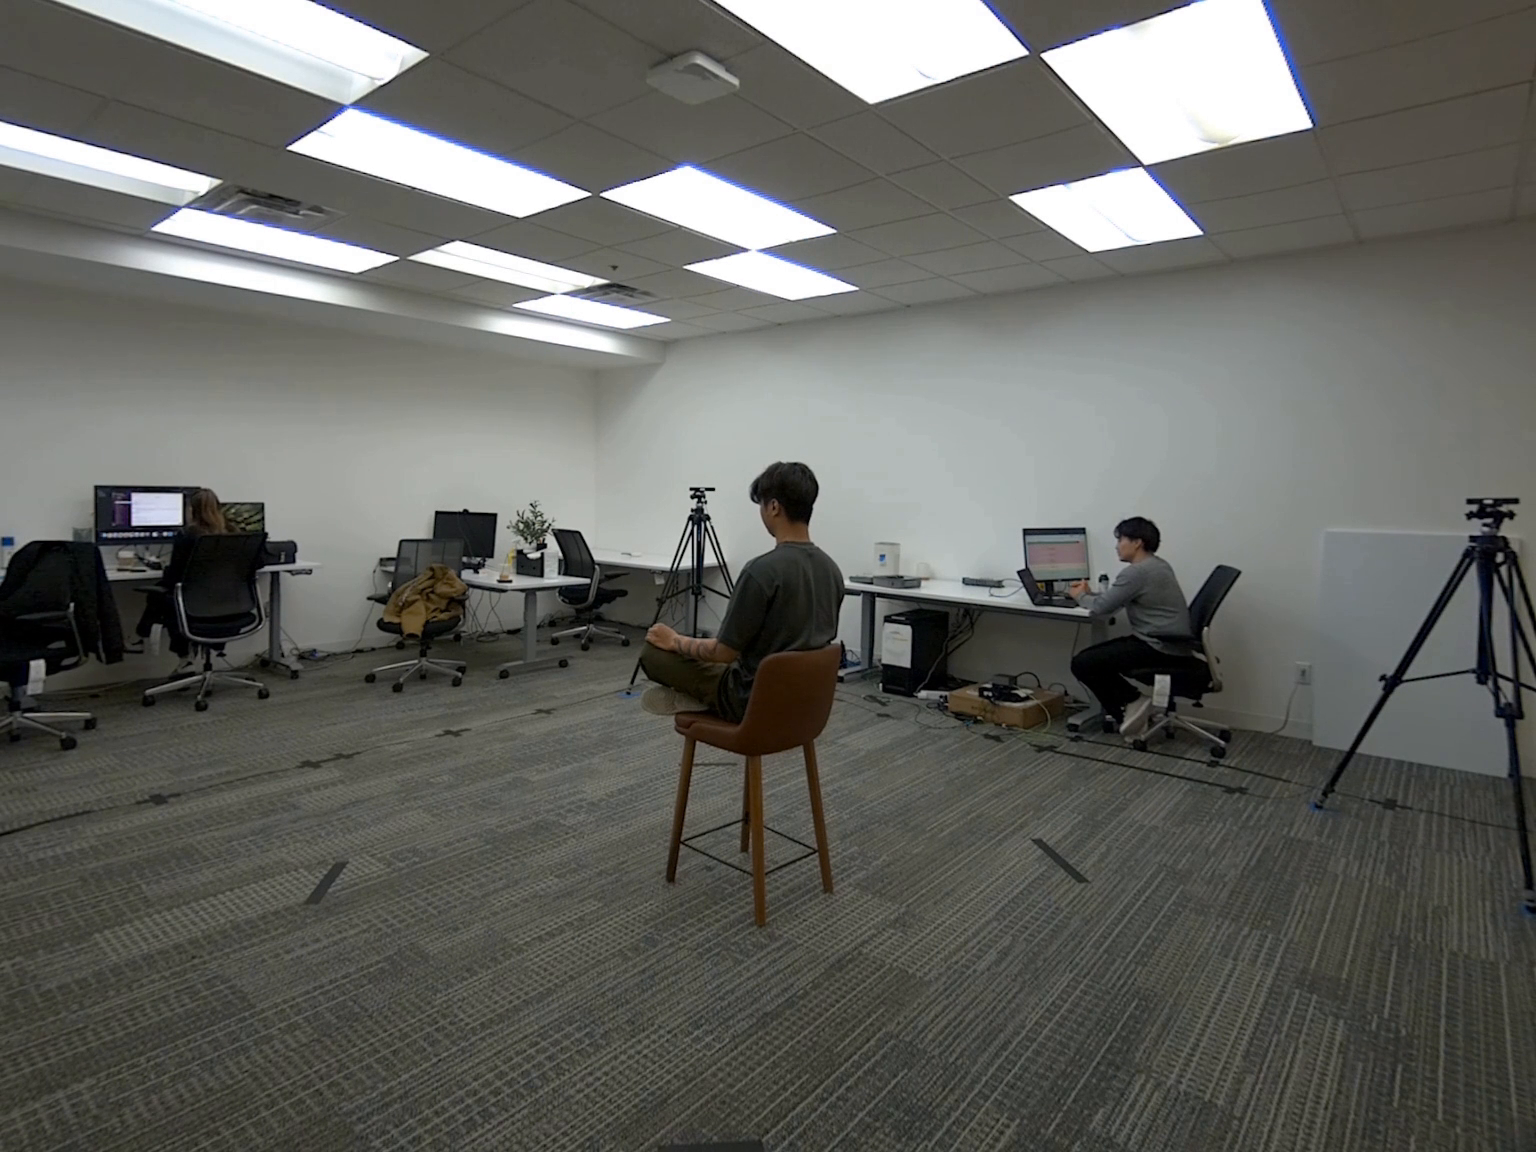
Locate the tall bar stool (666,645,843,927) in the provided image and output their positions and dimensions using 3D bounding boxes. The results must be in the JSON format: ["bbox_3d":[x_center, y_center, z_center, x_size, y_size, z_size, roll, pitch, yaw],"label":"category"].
[{"bbox_3d":[-0.052,0.650,2.953,0.484,0.886,0.442,8,6,44],"label":"tall bar stool"}]
